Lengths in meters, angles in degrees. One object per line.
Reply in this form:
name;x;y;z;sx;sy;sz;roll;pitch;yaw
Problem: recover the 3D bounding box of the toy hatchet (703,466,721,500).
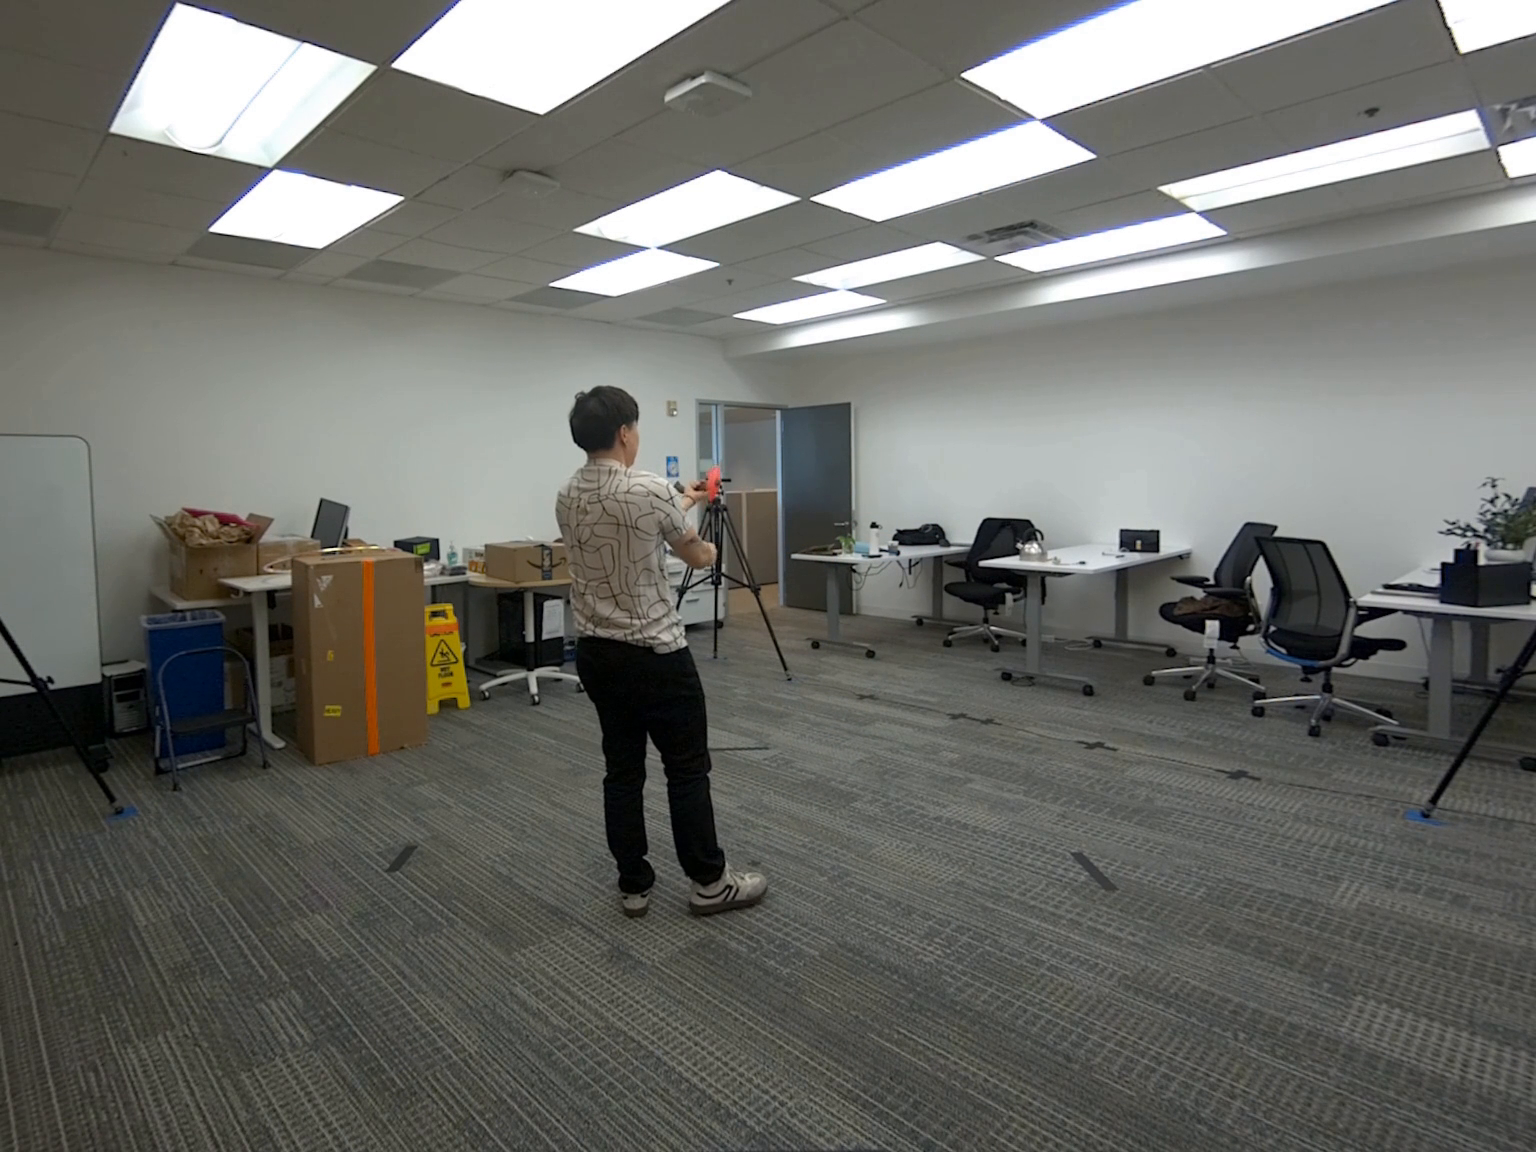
toy hatchet;-0.253;-0.345;3.097;0.028;0.131;0.279;20;1;-37
